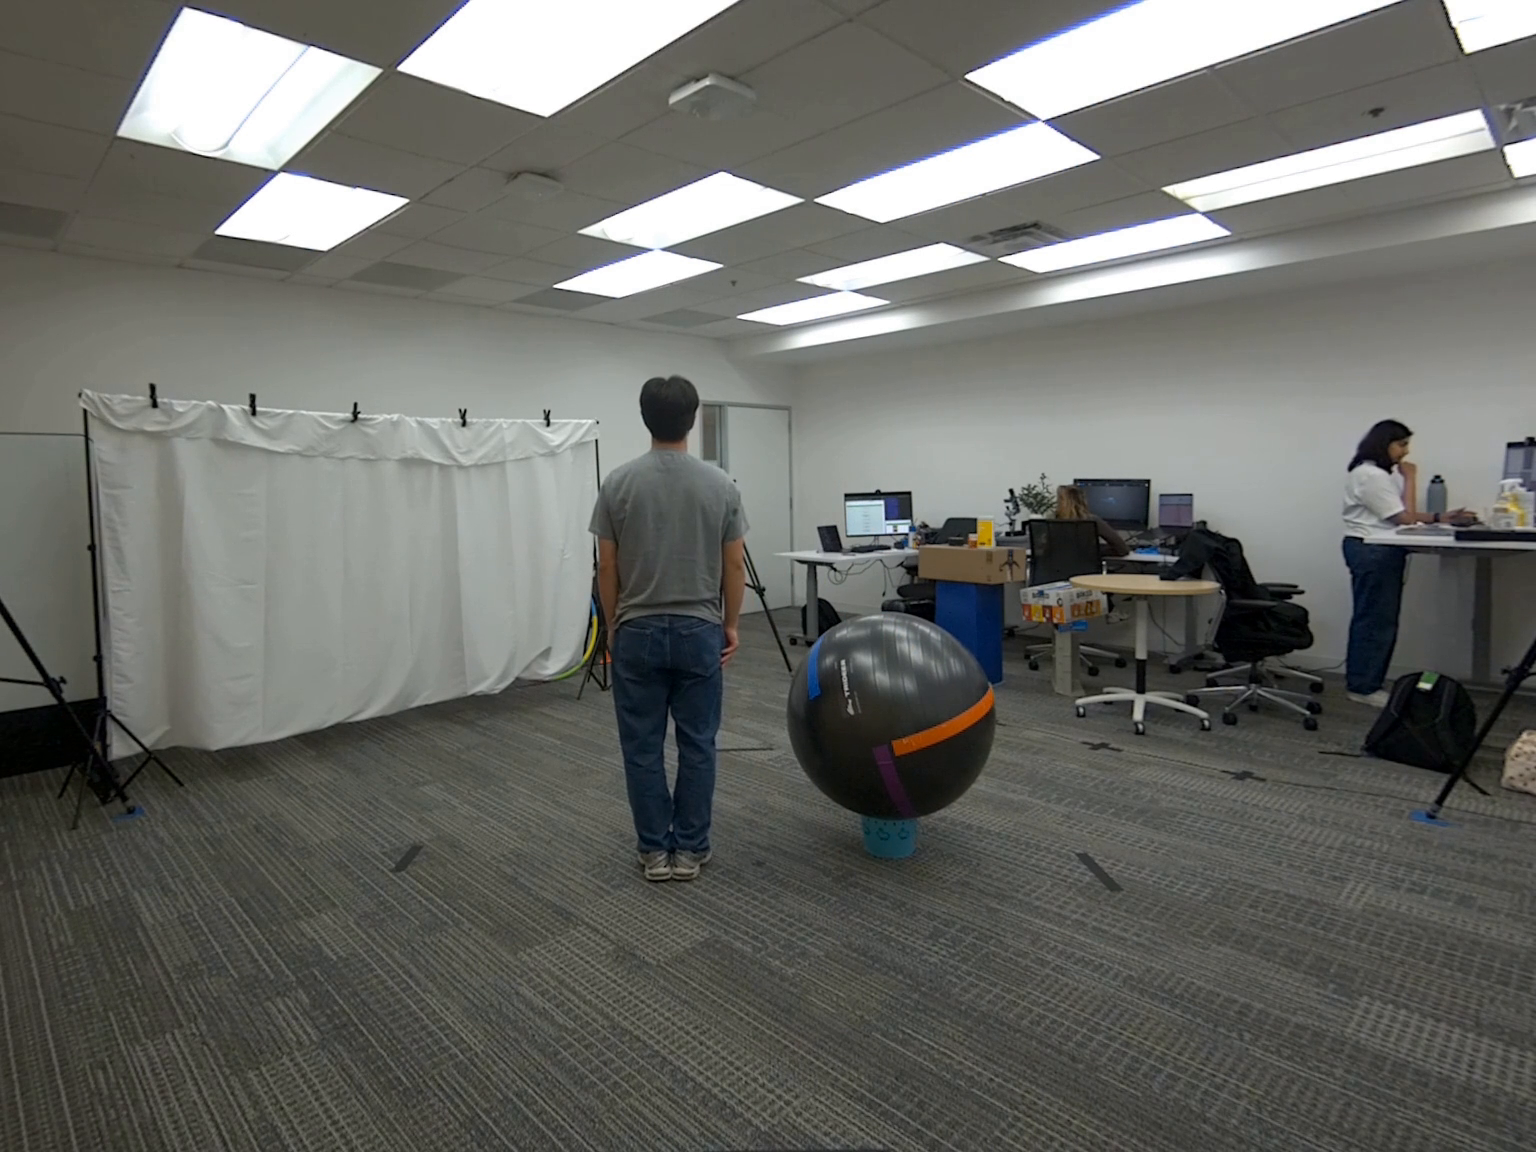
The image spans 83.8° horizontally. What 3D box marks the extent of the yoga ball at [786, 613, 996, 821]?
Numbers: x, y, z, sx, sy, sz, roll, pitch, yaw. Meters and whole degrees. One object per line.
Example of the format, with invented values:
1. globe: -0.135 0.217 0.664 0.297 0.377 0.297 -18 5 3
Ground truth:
1. yoga ball: 0.463 0.521 3.195 0.757 0.755 0.762 -1 5 -2
